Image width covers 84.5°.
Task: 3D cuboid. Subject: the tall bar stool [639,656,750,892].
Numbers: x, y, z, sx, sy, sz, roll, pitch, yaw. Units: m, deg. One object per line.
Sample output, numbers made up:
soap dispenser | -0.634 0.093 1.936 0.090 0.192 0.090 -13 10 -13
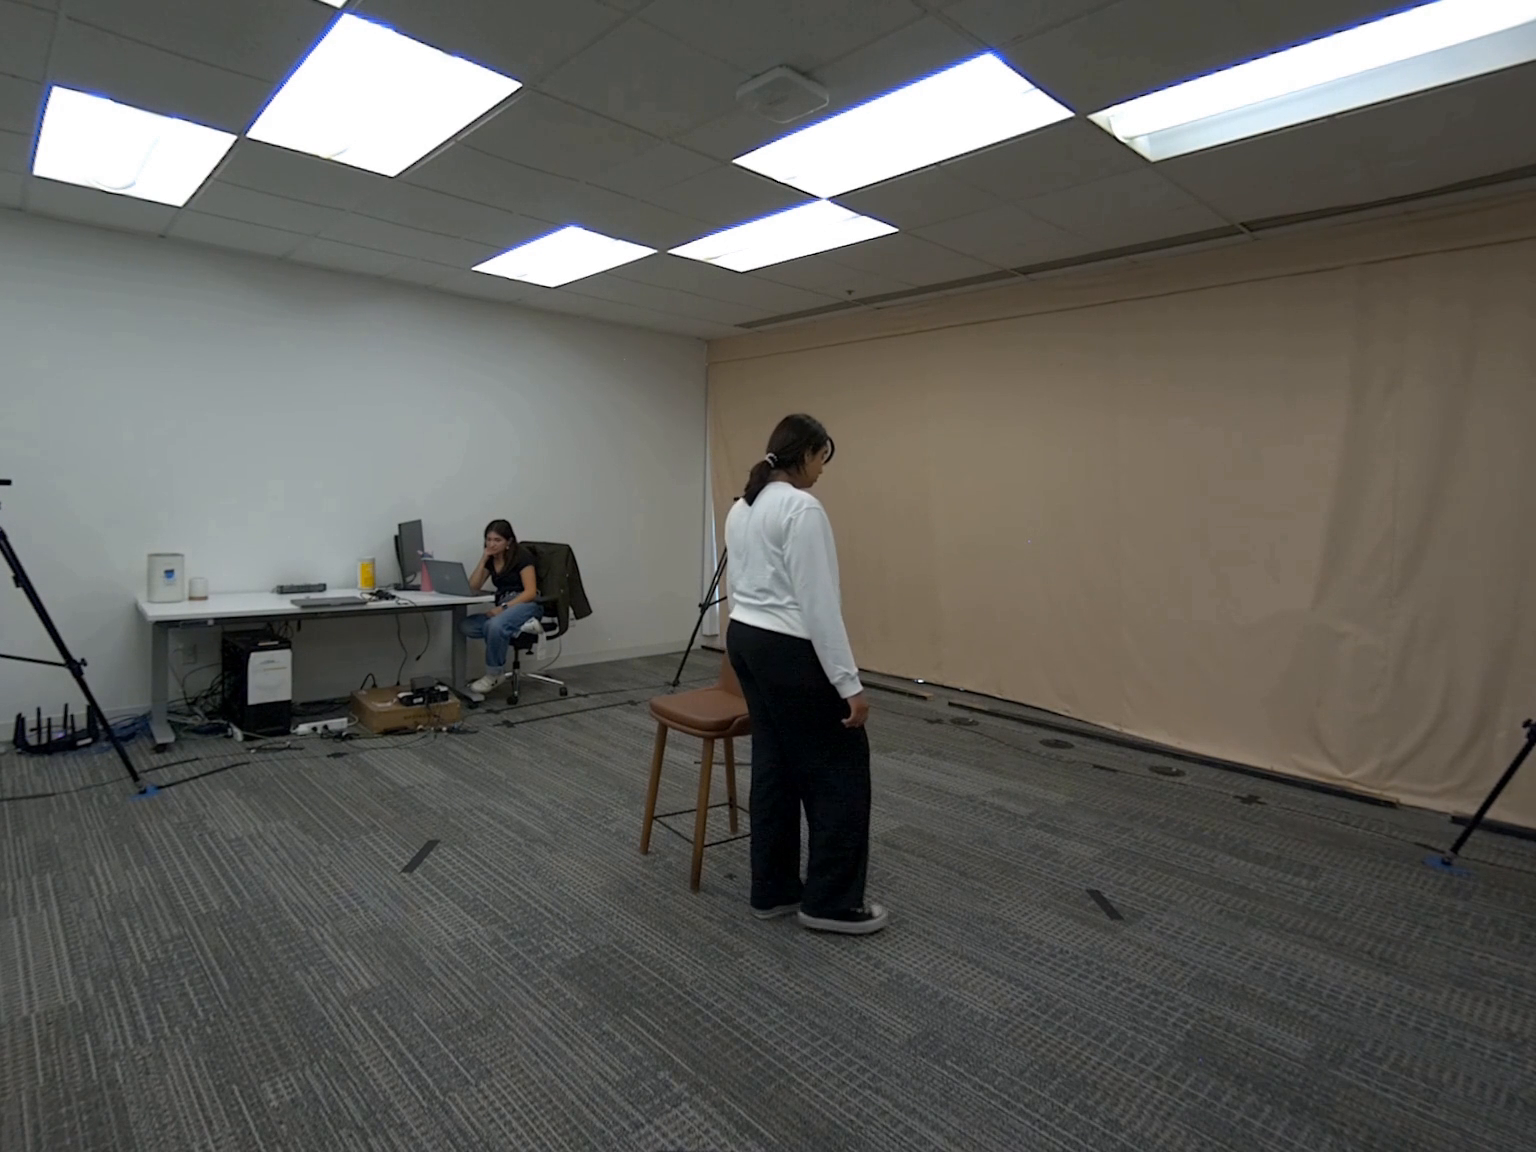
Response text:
tall bar stool | -0.199 0.659 3.240 0.457 0.888 0.467 1 3 -35
